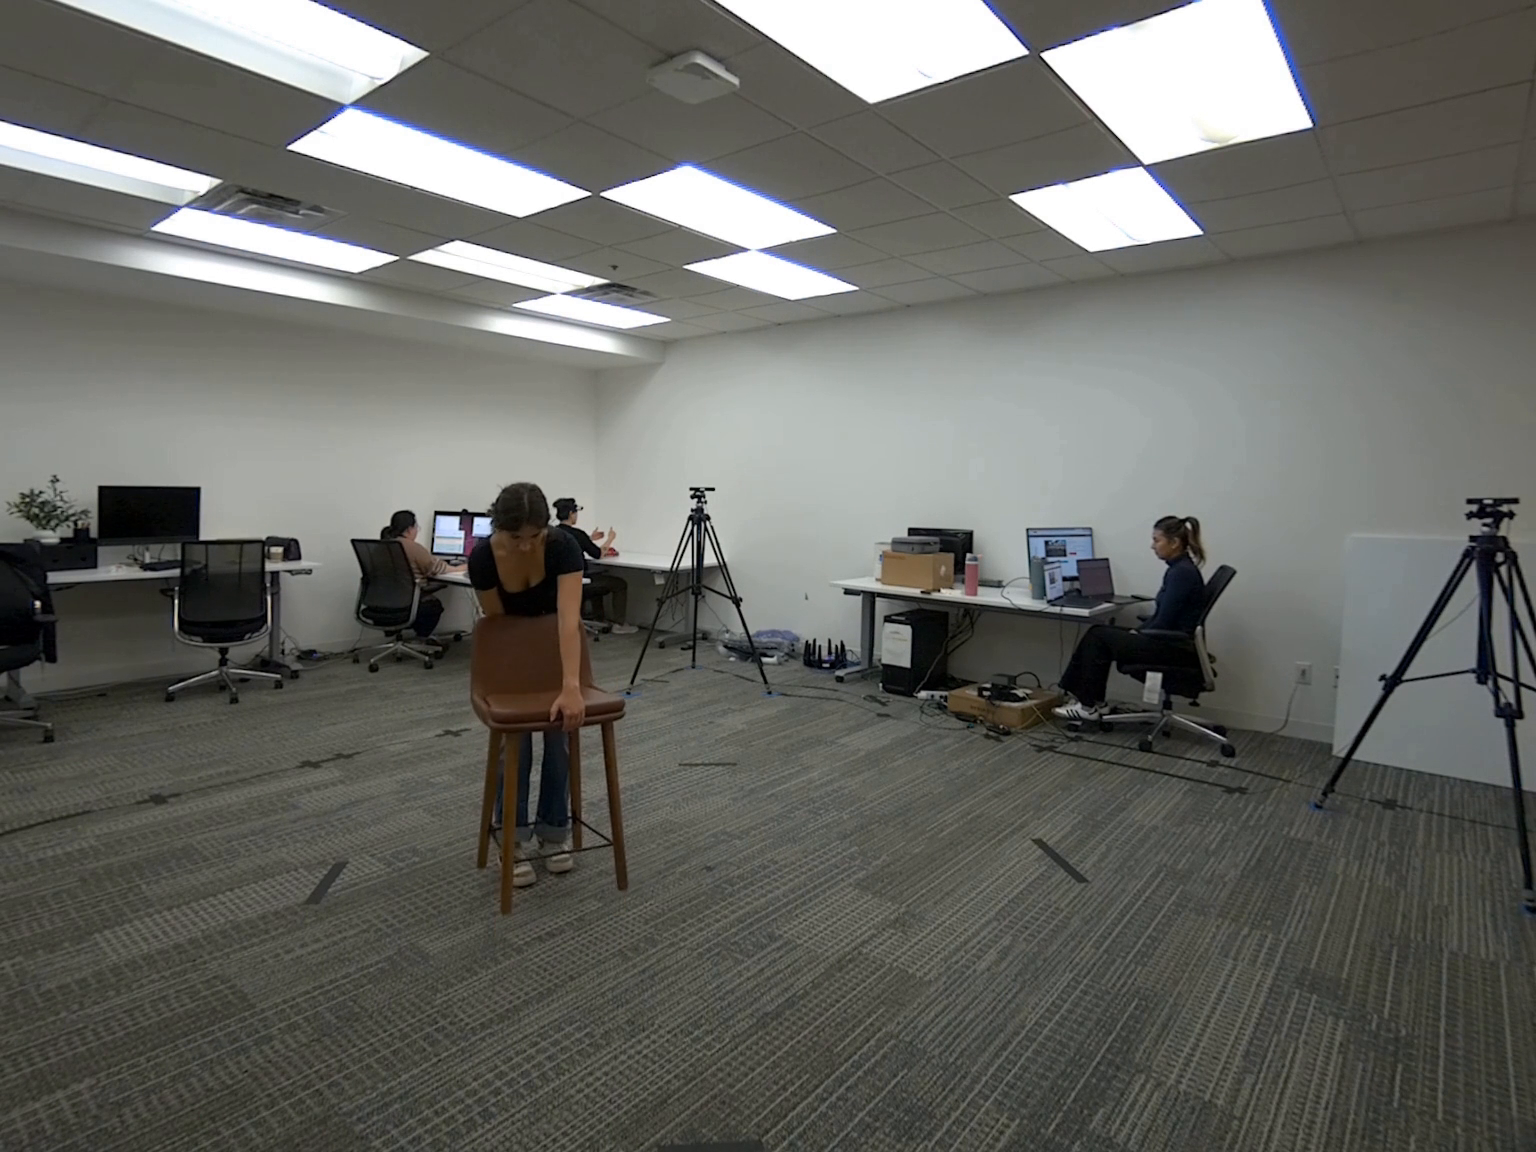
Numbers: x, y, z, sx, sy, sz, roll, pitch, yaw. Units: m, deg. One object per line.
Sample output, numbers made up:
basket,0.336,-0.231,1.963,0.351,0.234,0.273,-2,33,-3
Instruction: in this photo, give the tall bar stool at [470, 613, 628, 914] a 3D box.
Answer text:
tall bar stool,-0.754,0.576,2.855,0.444,0.892,0.479,0,-3,-29
